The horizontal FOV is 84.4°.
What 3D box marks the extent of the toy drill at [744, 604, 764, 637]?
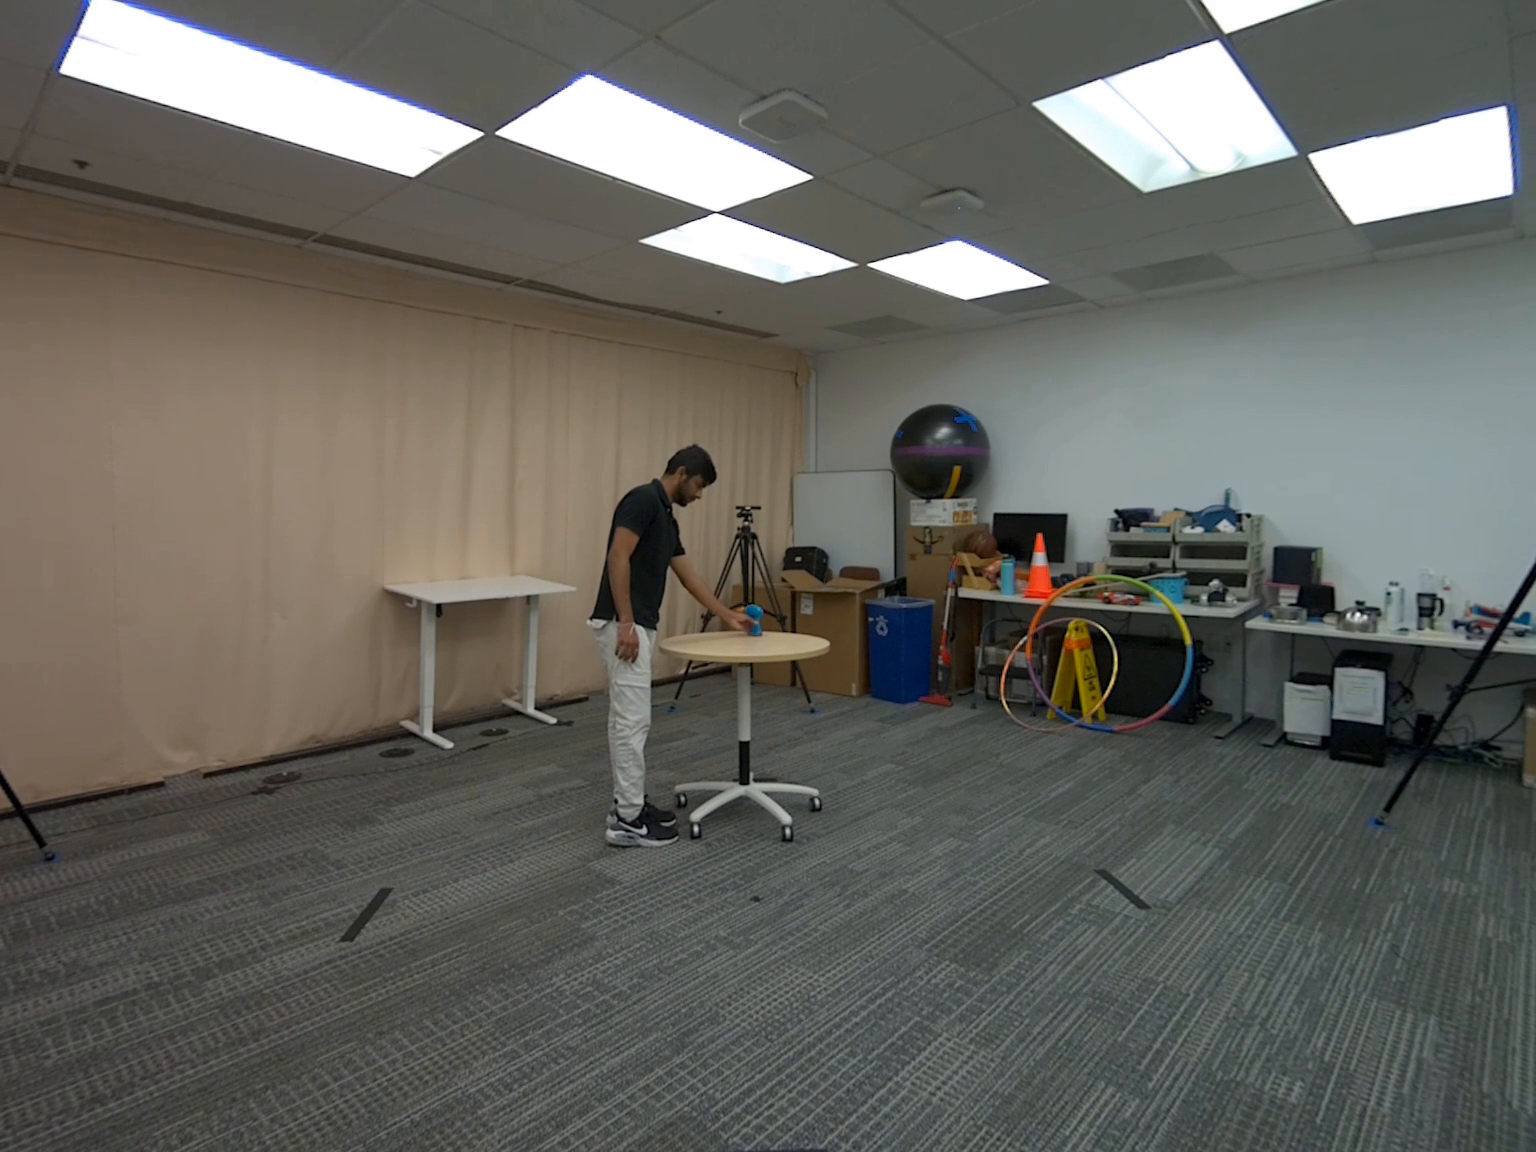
[{"bbox_3d":[-0.092,0.208,4.019,0.175,0.145,0.059,4,9,35],"label":"toy drill"}]
